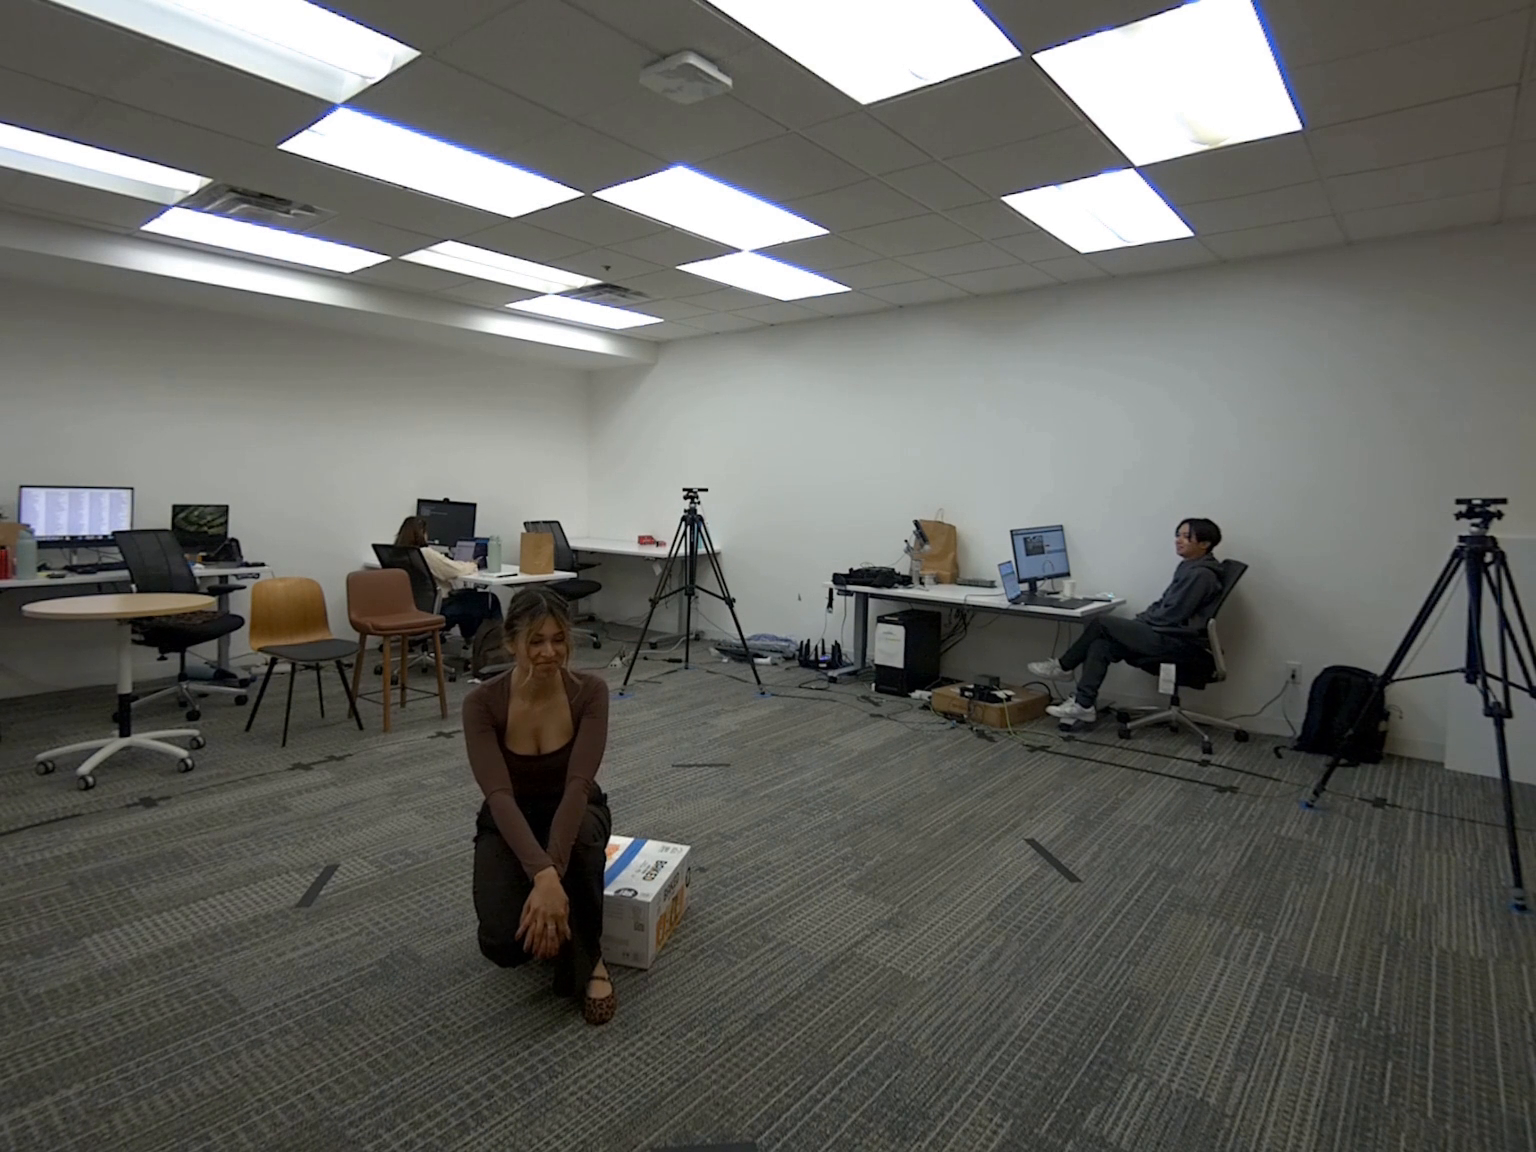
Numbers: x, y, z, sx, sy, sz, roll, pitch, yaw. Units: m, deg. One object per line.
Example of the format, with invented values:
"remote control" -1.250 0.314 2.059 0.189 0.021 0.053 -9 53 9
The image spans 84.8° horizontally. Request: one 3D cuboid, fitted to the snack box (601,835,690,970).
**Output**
"snack box" -0.472 1.004 2.670 0.346 0.205 0.400 2 5 14
